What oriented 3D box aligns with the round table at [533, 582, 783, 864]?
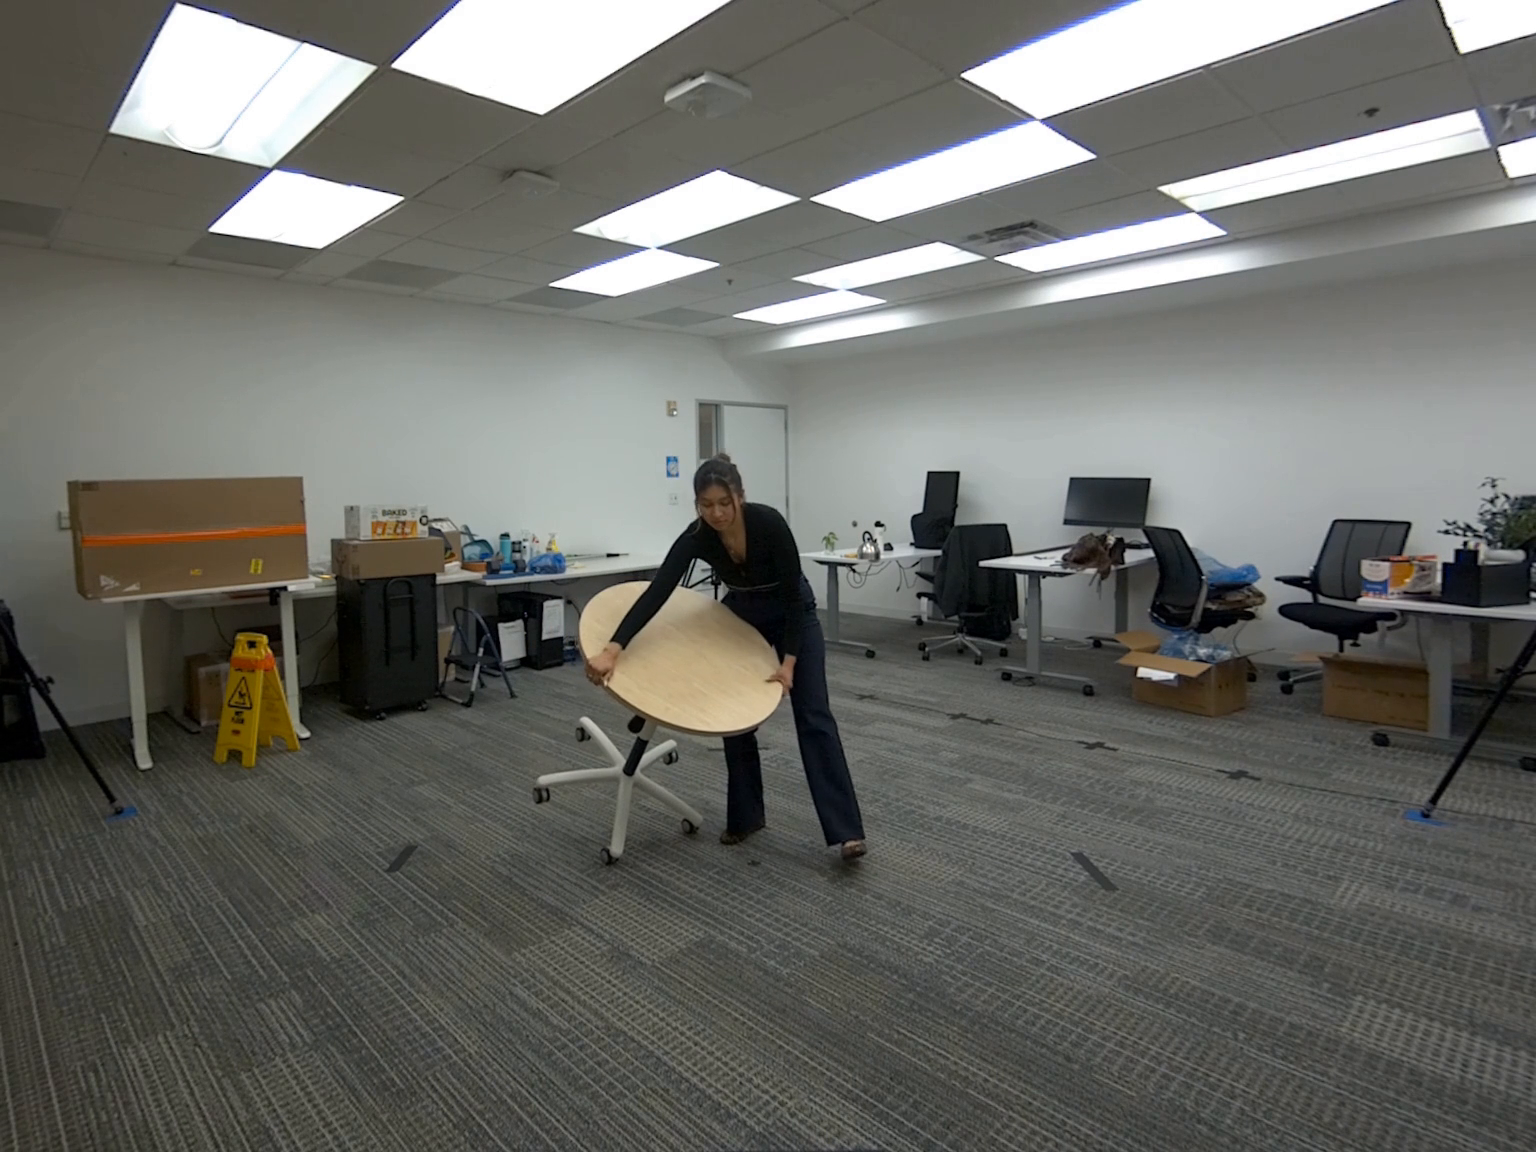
[{"bbox_3d":[-0.451,0.571,3.230,0.753,0.785,0.783,18,30,-12],"label":"round table"}]
